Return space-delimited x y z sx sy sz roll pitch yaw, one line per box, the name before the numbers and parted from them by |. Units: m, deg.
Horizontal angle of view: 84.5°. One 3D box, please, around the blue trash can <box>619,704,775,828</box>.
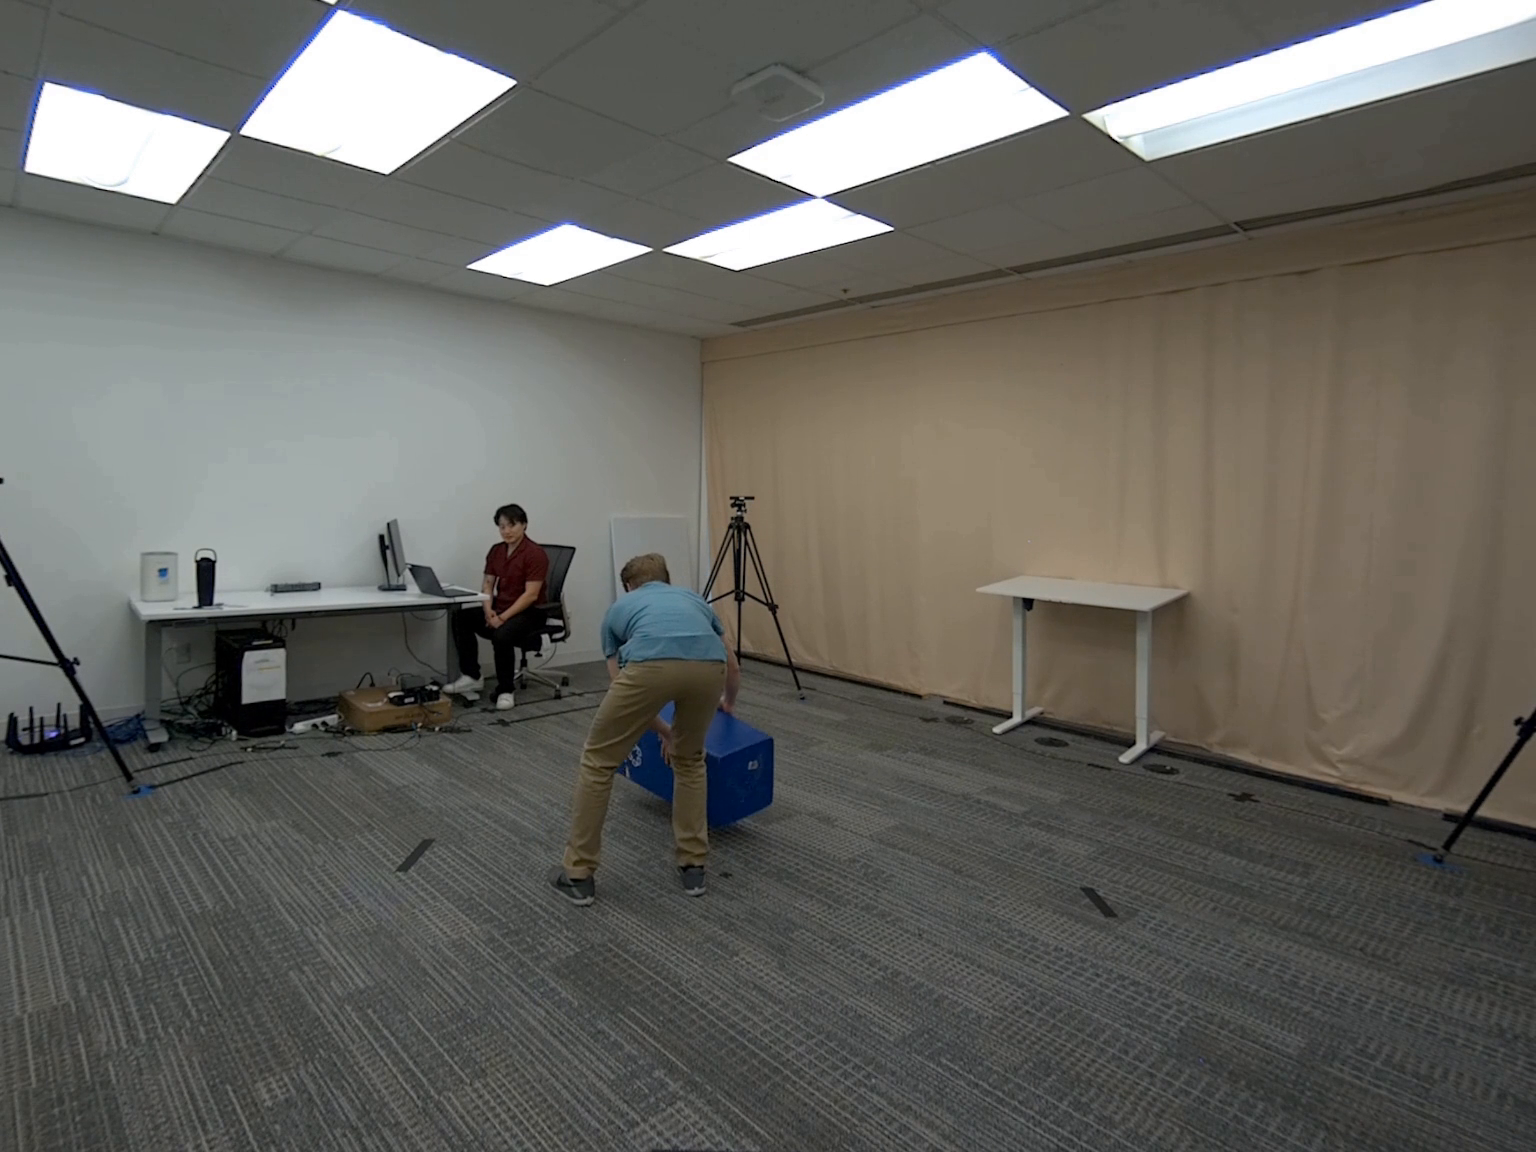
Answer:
blue trash can | -0.330 0.764 3.589 0.367 0.375 0.734 -10 17 -42
